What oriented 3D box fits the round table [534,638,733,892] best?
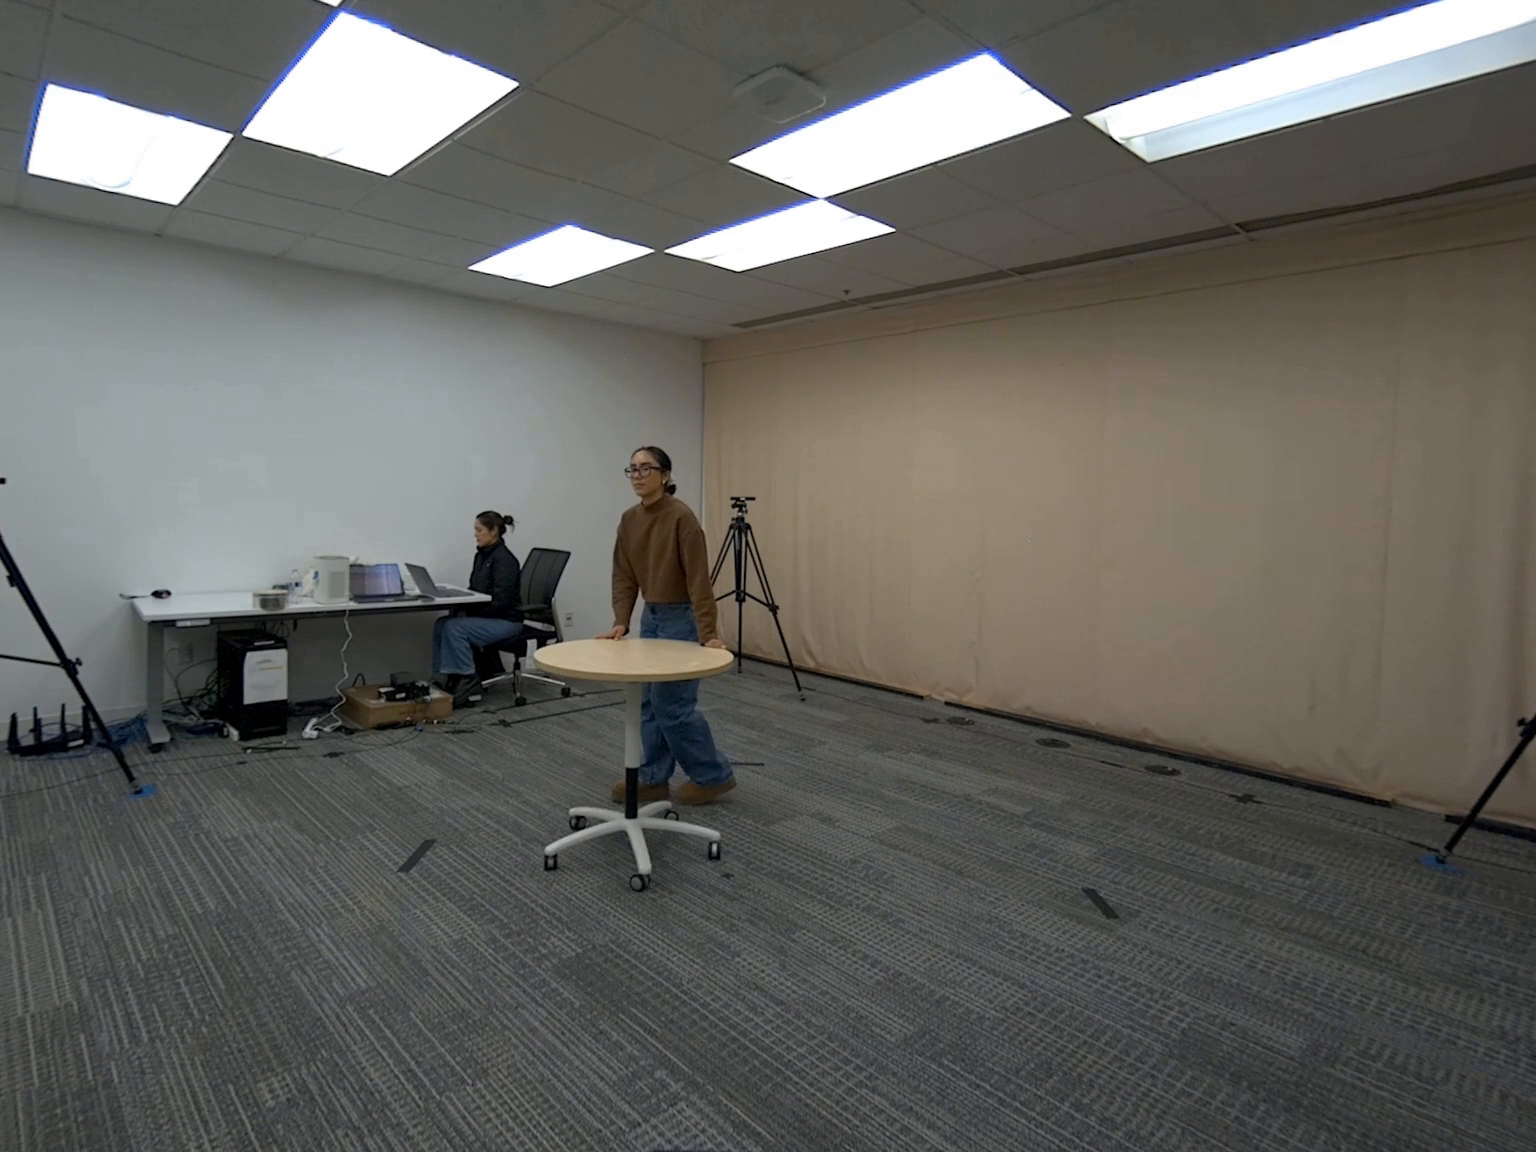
[{"bbox_3d":[-0.528,0.692,3.278,0.784,0.785,0.787,2,3,-1],"label":"round table"}]
